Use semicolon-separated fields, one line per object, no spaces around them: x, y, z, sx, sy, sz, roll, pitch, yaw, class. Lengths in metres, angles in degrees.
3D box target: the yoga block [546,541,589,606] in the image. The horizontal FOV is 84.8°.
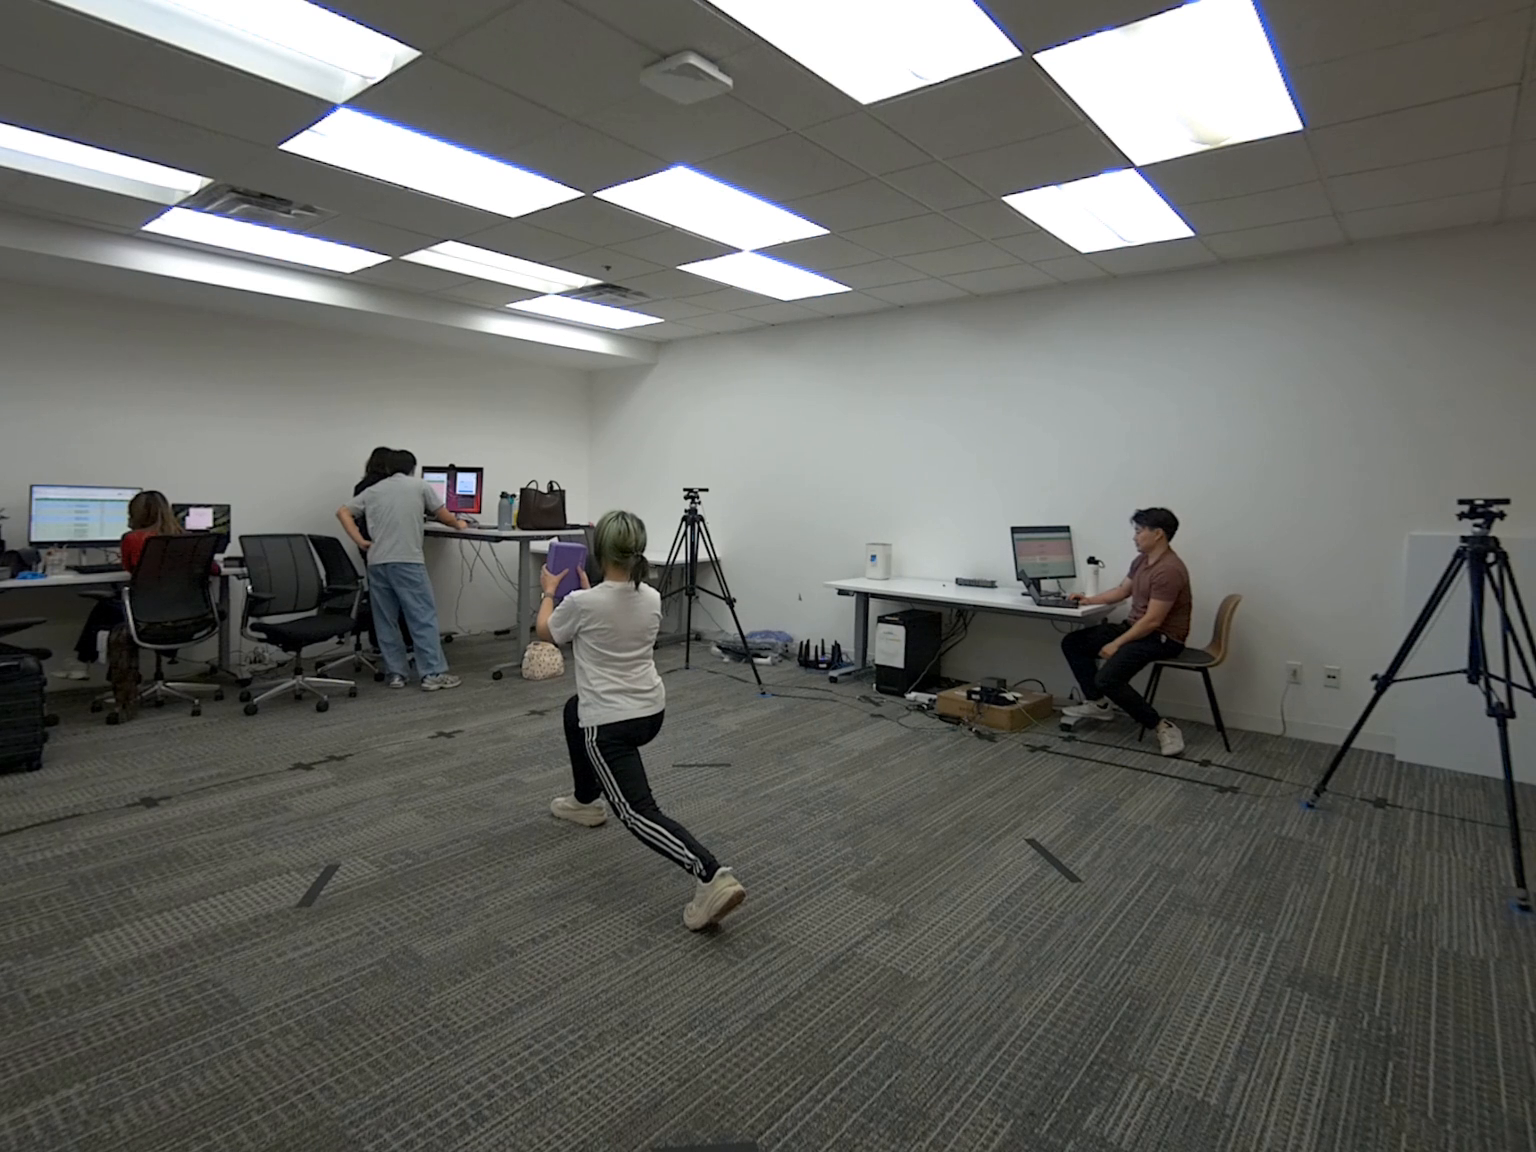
-0.874;-0.032;3.607;0.144;0.228;0.079;5;6;-37;yoga block
